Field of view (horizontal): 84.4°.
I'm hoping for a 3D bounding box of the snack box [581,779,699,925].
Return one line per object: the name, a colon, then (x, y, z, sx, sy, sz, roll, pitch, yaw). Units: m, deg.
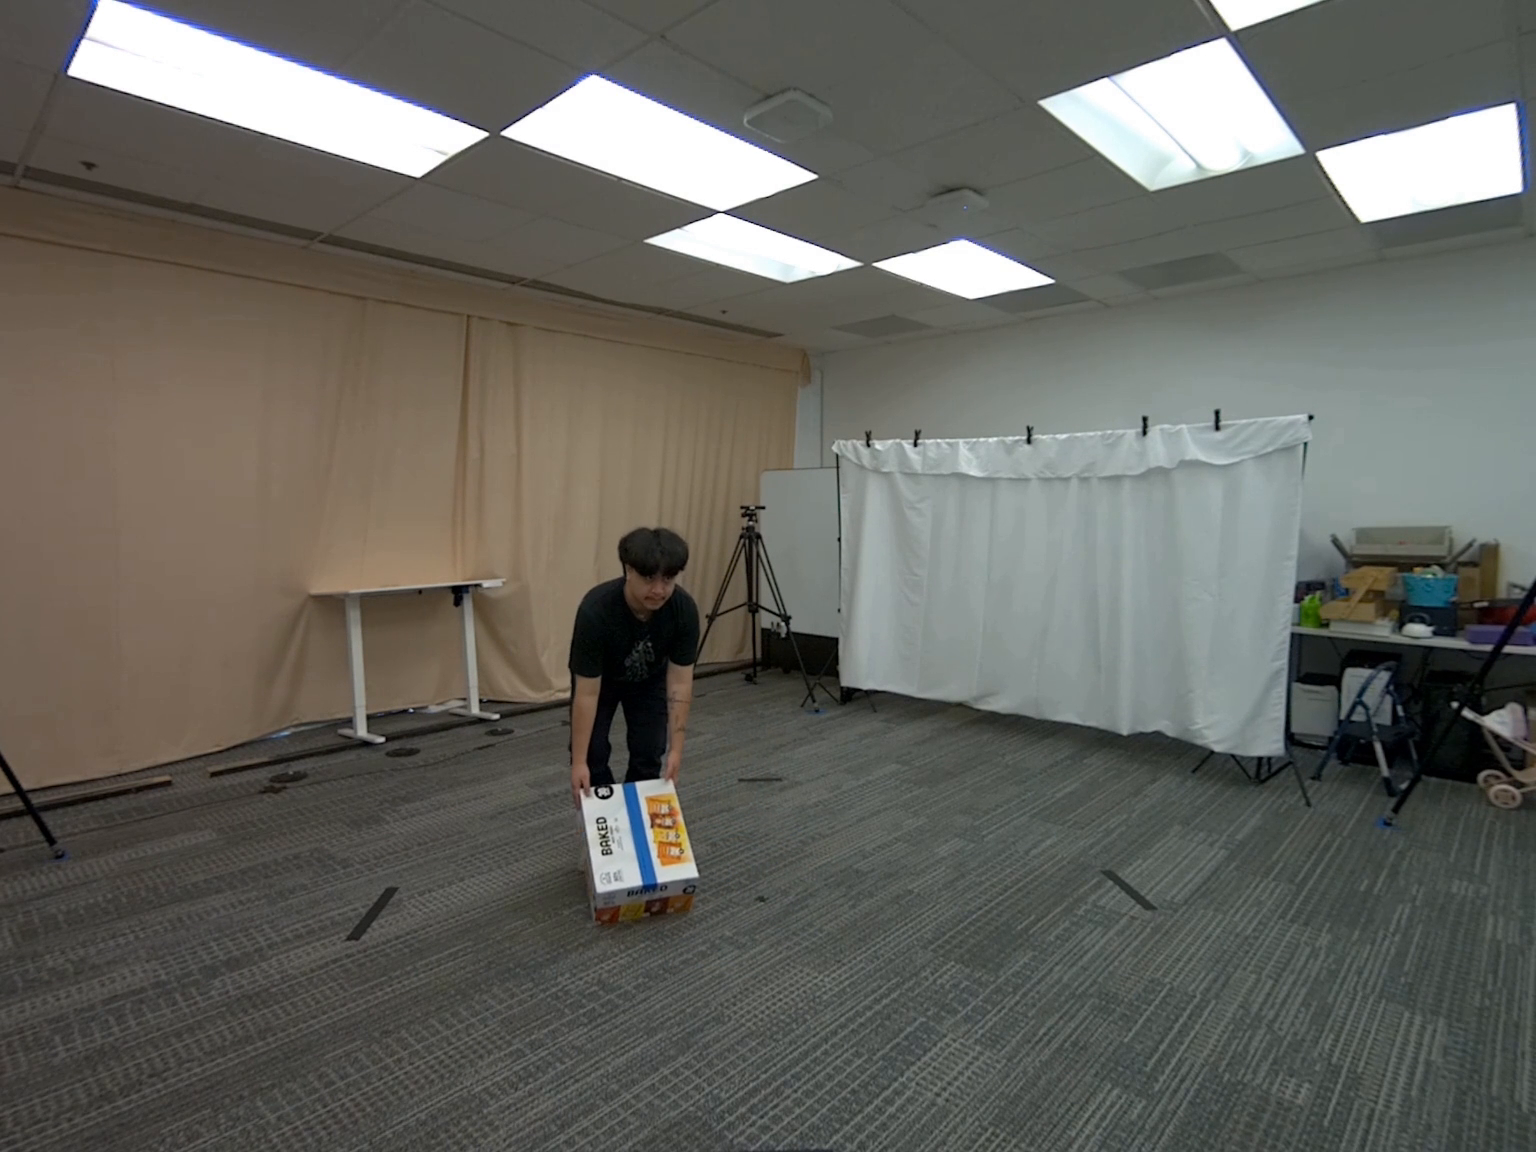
snack box: (-0.467, 0.954, 2.934, 0.334, 0.203, 0.417, -3, 40, -19)
